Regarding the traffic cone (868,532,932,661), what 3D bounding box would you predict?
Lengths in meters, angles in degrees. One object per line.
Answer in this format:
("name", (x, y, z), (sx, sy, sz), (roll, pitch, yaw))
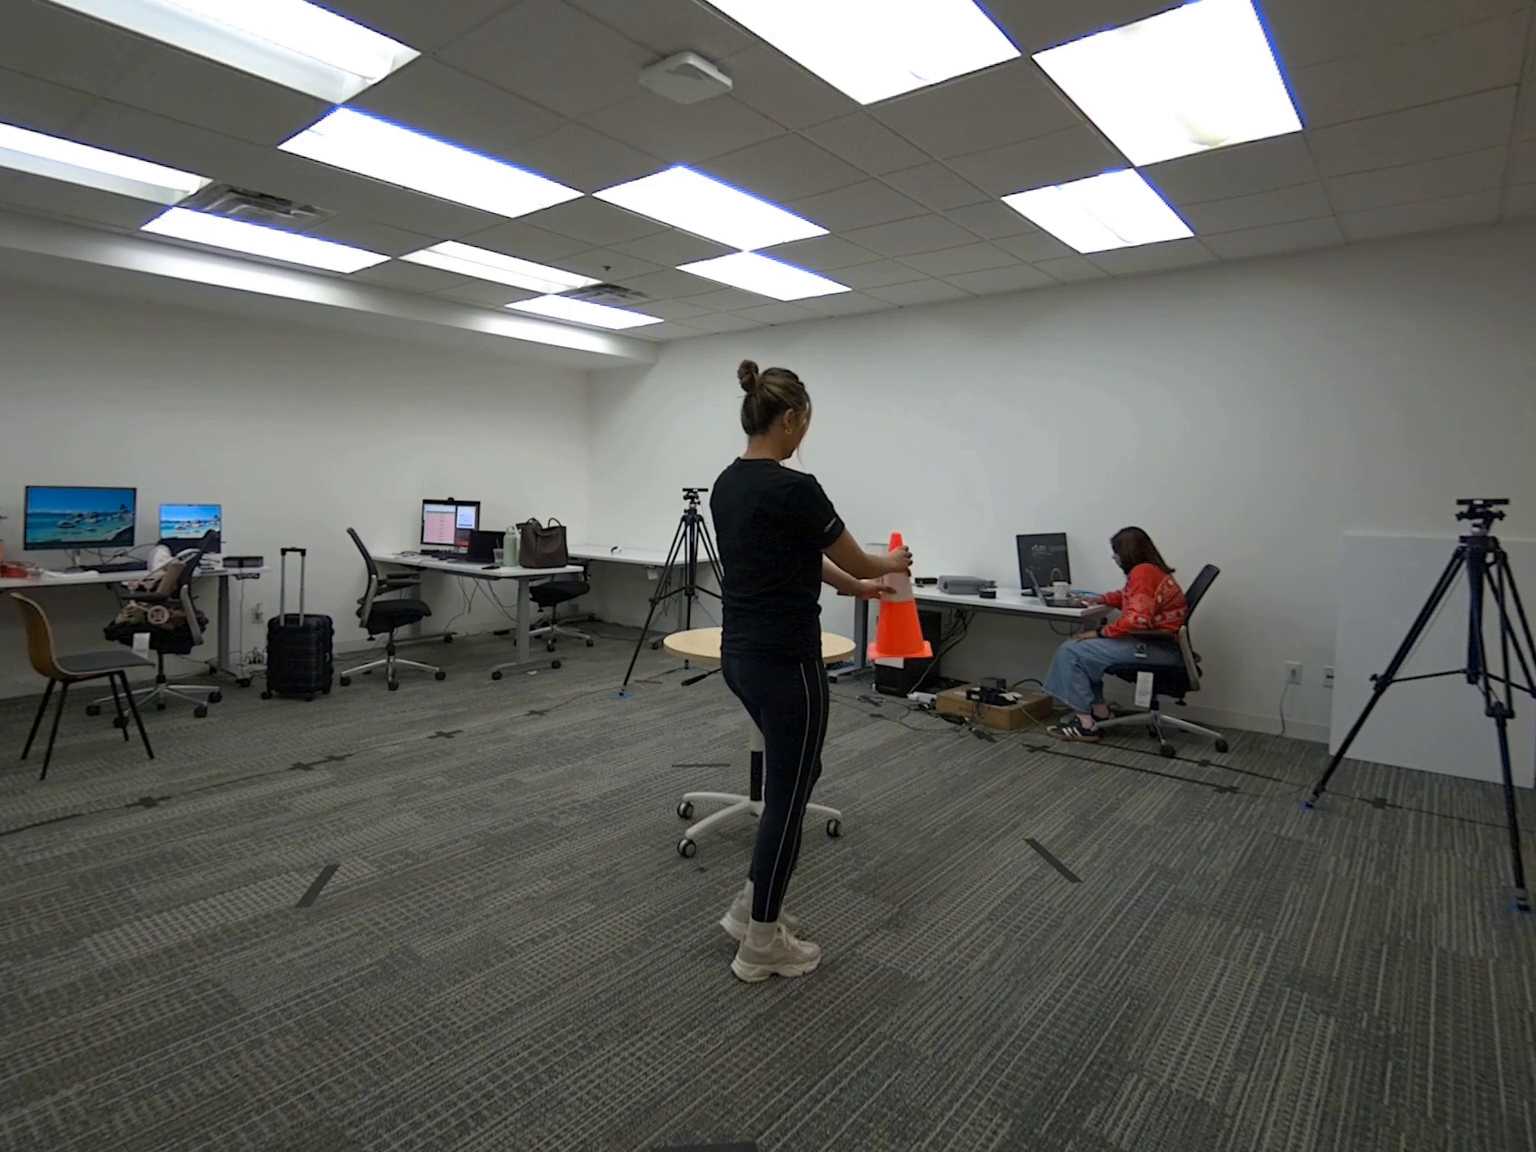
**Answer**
("traffic cone", (0.415, 0.048, 2.714), (0.206, 0.381, 0.203), (-2, 8, 6))
